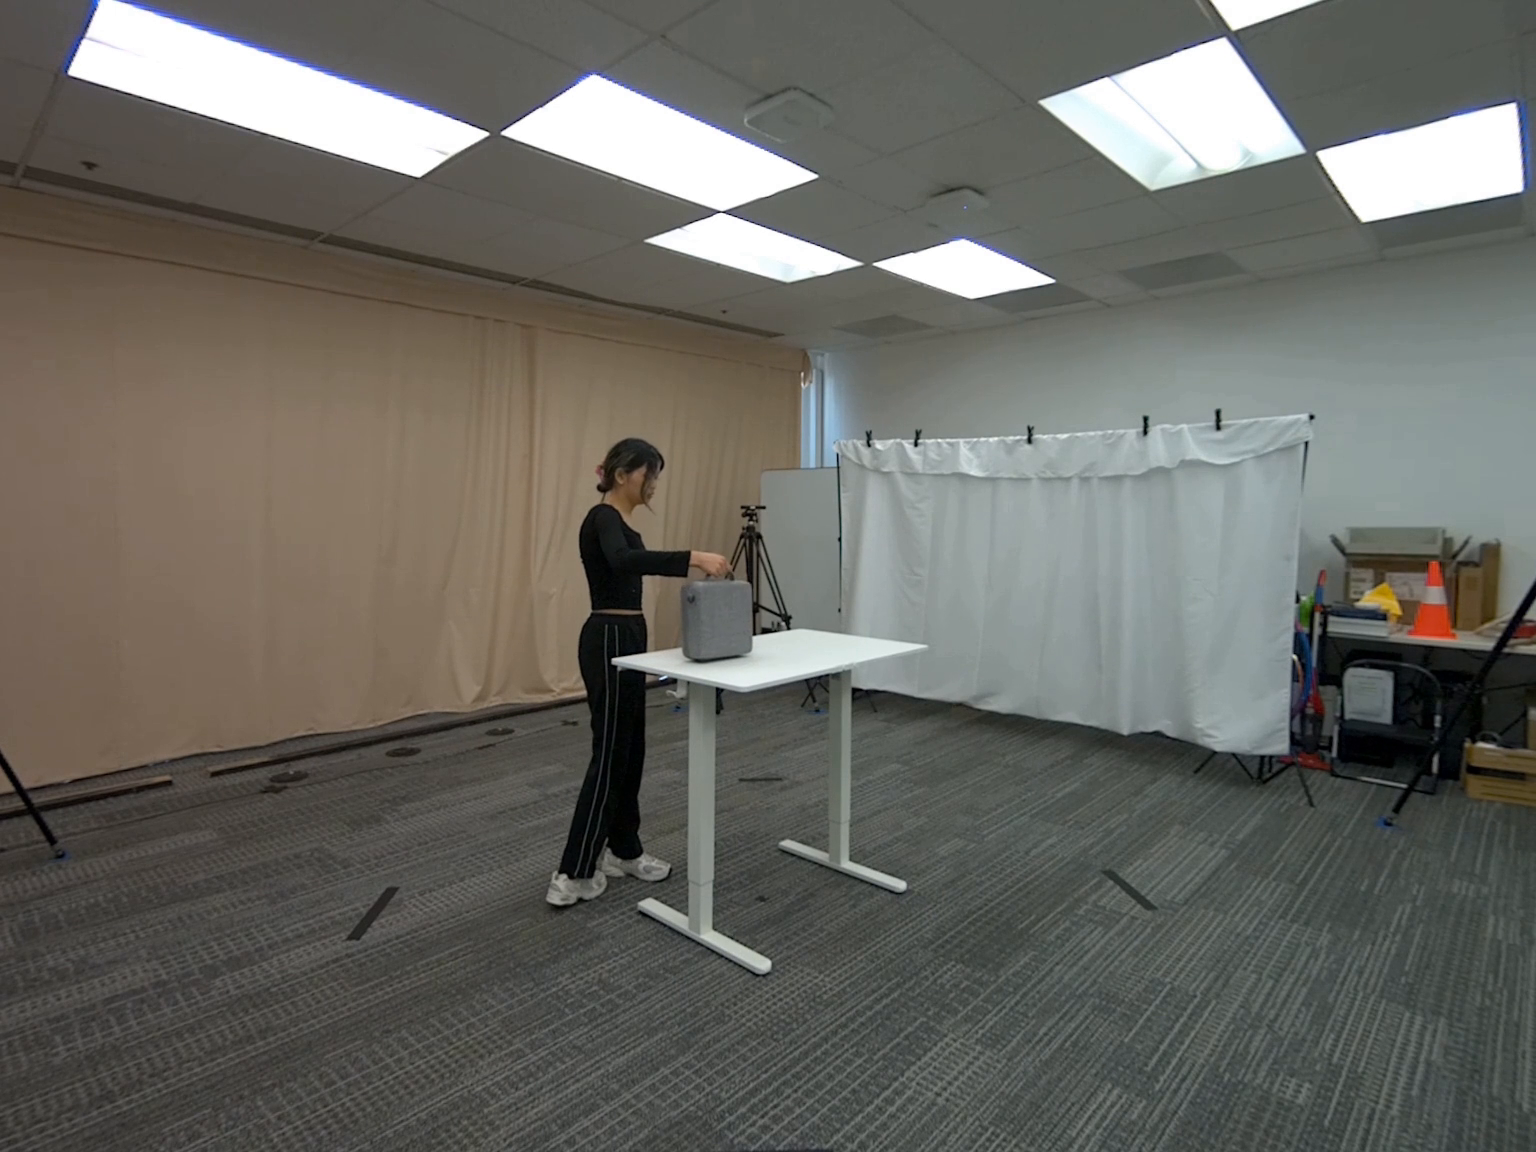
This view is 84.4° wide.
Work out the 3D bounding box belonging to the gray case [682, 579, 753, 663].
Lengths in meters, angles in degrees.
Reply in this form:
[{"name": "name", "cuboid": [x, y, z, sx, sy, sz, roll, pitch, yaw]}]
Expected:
[{"name": "gray case", "cuboid": [-0.163, 0.140, 2.788, 0.249, 0.260, 0.107, -2, 0, -43]}]
